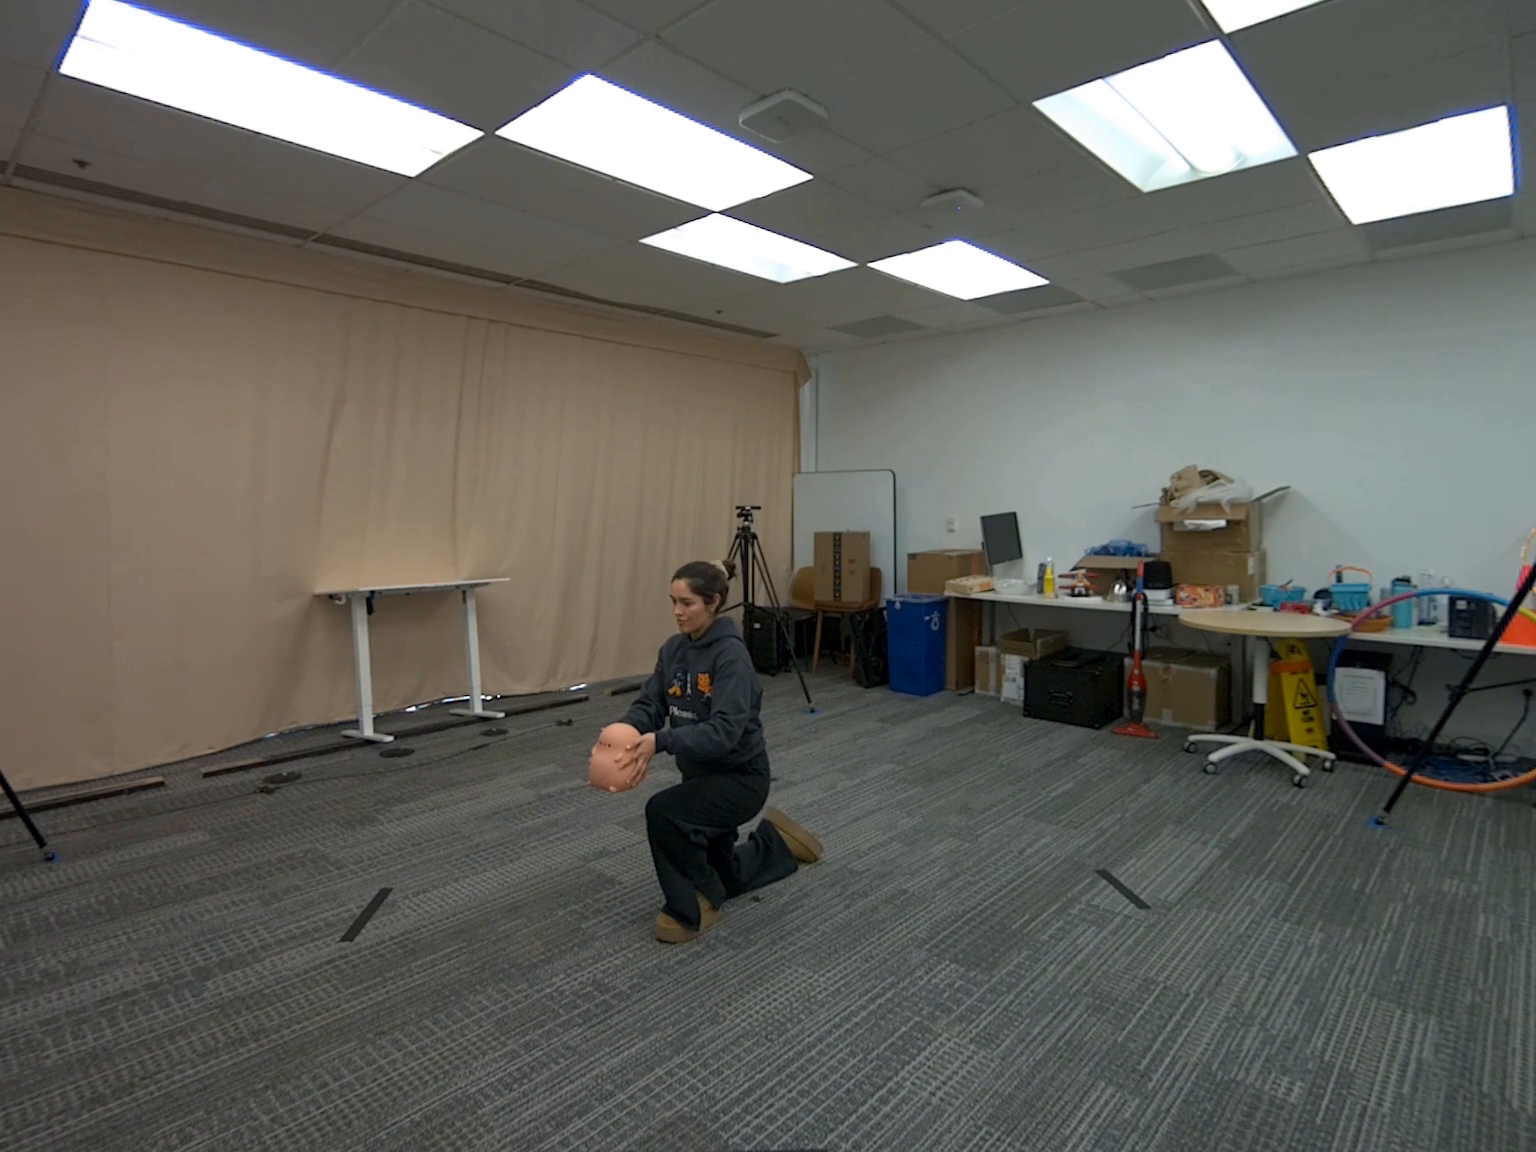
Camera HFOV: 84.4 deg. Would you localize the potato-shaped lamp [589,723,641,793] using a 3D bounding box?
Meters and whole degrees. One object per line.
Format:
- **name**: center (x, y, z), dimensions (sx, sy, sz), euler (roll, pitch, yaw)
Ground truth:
- **potato-shaped lamp**: center (-0.450, 0.555, 2.602), dimensions (0.170, 0.198, 0.166), euler (2, 1, 43)
